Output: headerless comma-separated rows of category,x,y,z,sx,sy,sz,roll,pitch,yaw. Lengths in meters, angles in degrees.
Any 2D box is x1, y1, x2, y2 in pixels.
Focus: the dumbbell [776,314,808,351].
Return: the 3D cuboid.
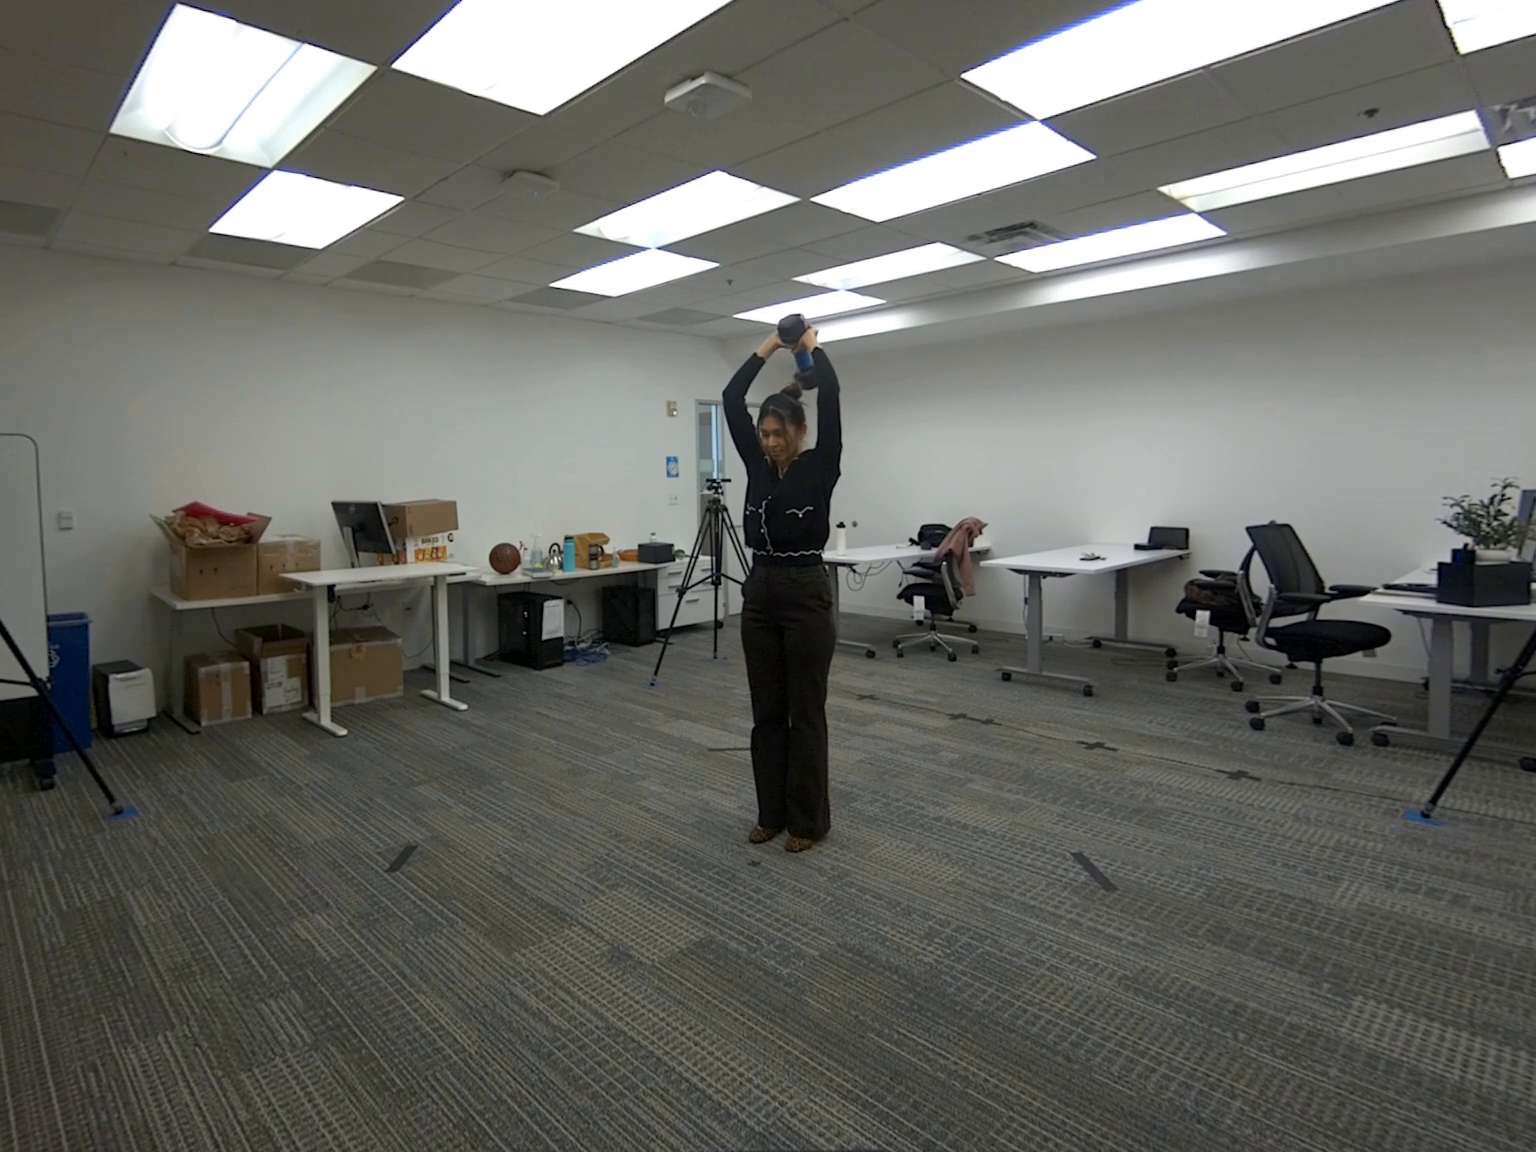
dumbbell,0.131,-0.872,3.340,0.110,0.285,0.125,-12,30,15
